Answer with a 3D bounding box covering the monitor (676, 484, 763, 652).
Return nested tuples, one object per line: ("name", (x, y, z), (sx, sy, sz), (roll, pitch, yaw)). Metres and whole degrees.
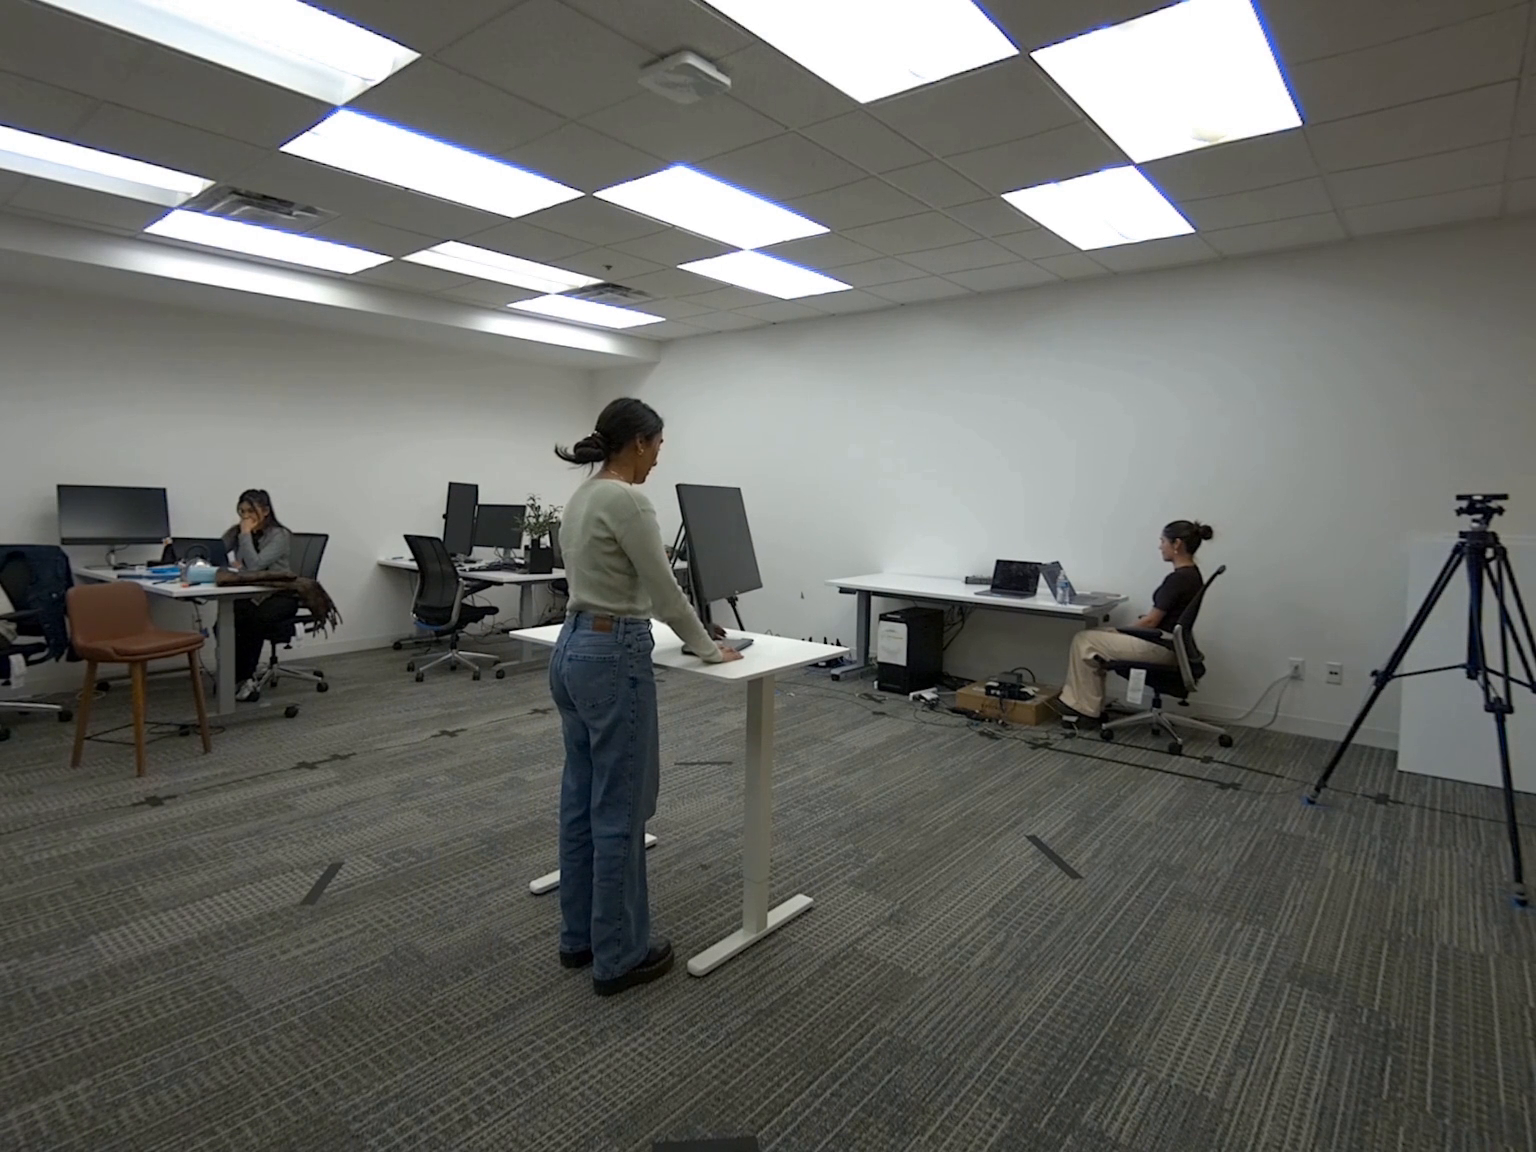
("monitor", (-0.176, -0.028, 2.678), (0.178, 0.515, 0.521), (4, 4, 16))
